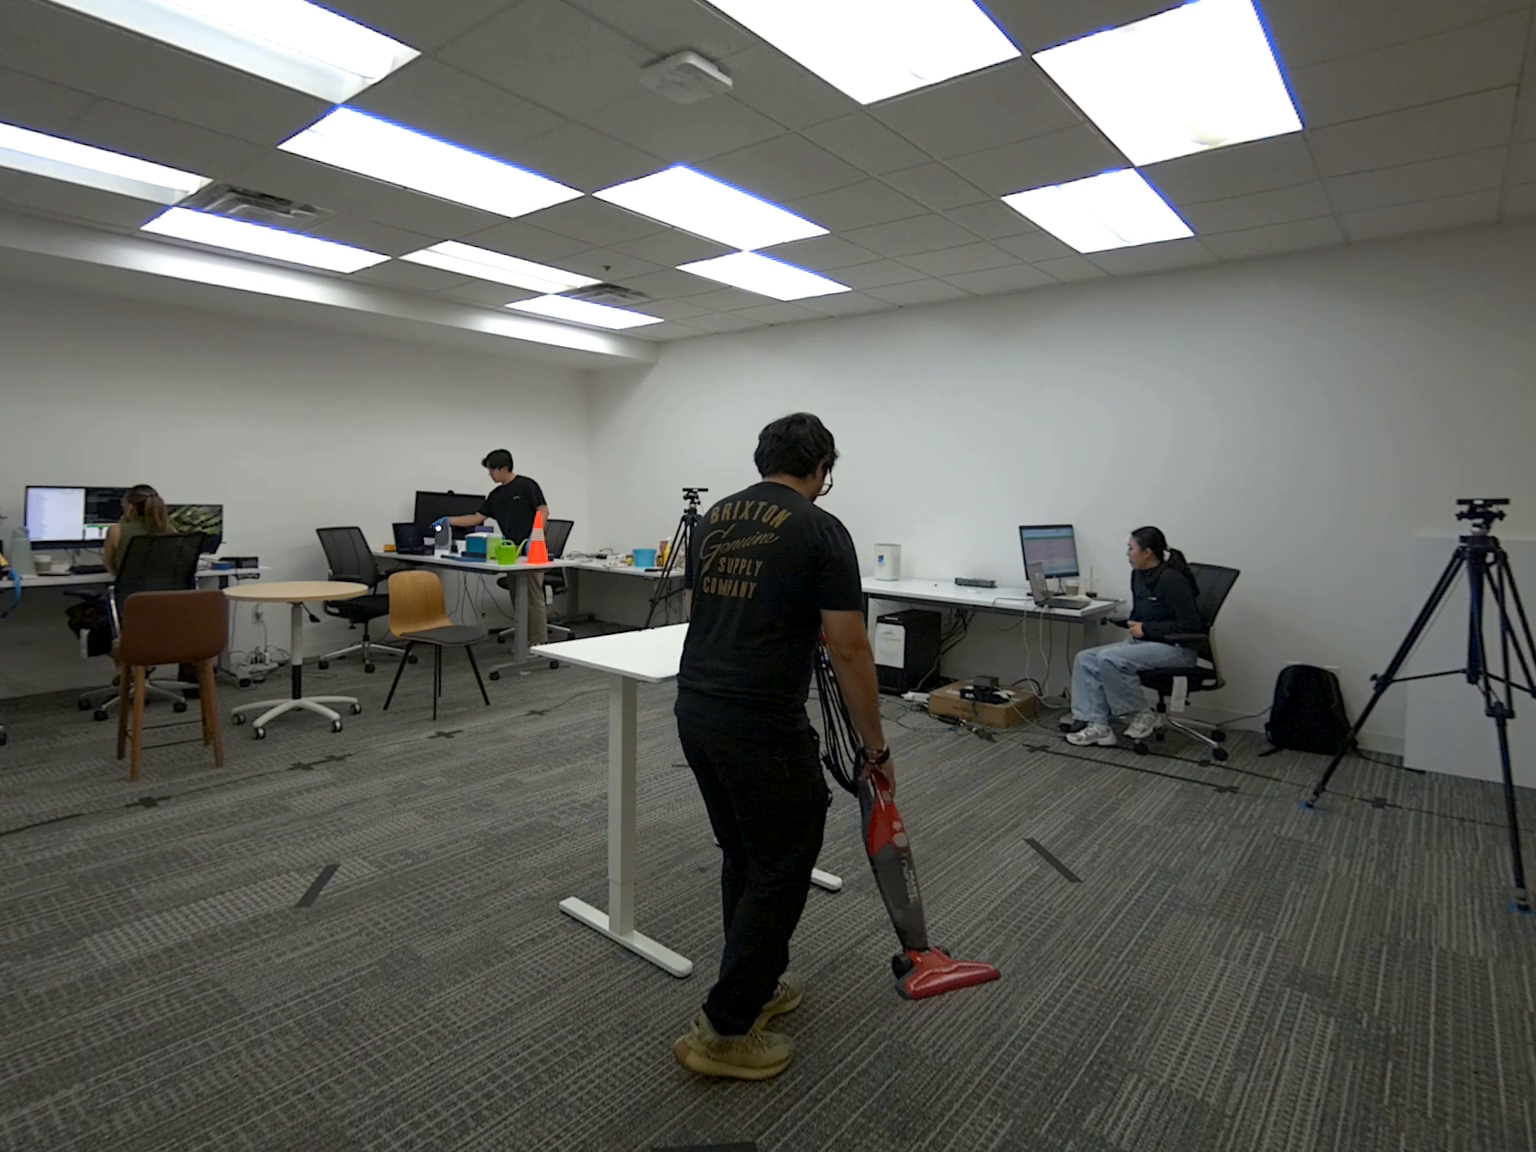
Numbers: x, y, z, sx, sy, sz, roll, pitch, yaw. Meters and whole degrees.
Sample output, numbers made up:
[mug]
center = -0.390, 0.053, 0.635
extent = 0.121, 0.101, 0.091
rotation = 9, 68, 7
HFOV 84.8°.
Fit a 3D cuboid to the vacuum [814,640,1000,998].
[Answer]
[vacuum]
center = 0.232, 0.460, 2.180
extent = 0.244, 1.087, 0.144
rotation = 10, -44, -36
